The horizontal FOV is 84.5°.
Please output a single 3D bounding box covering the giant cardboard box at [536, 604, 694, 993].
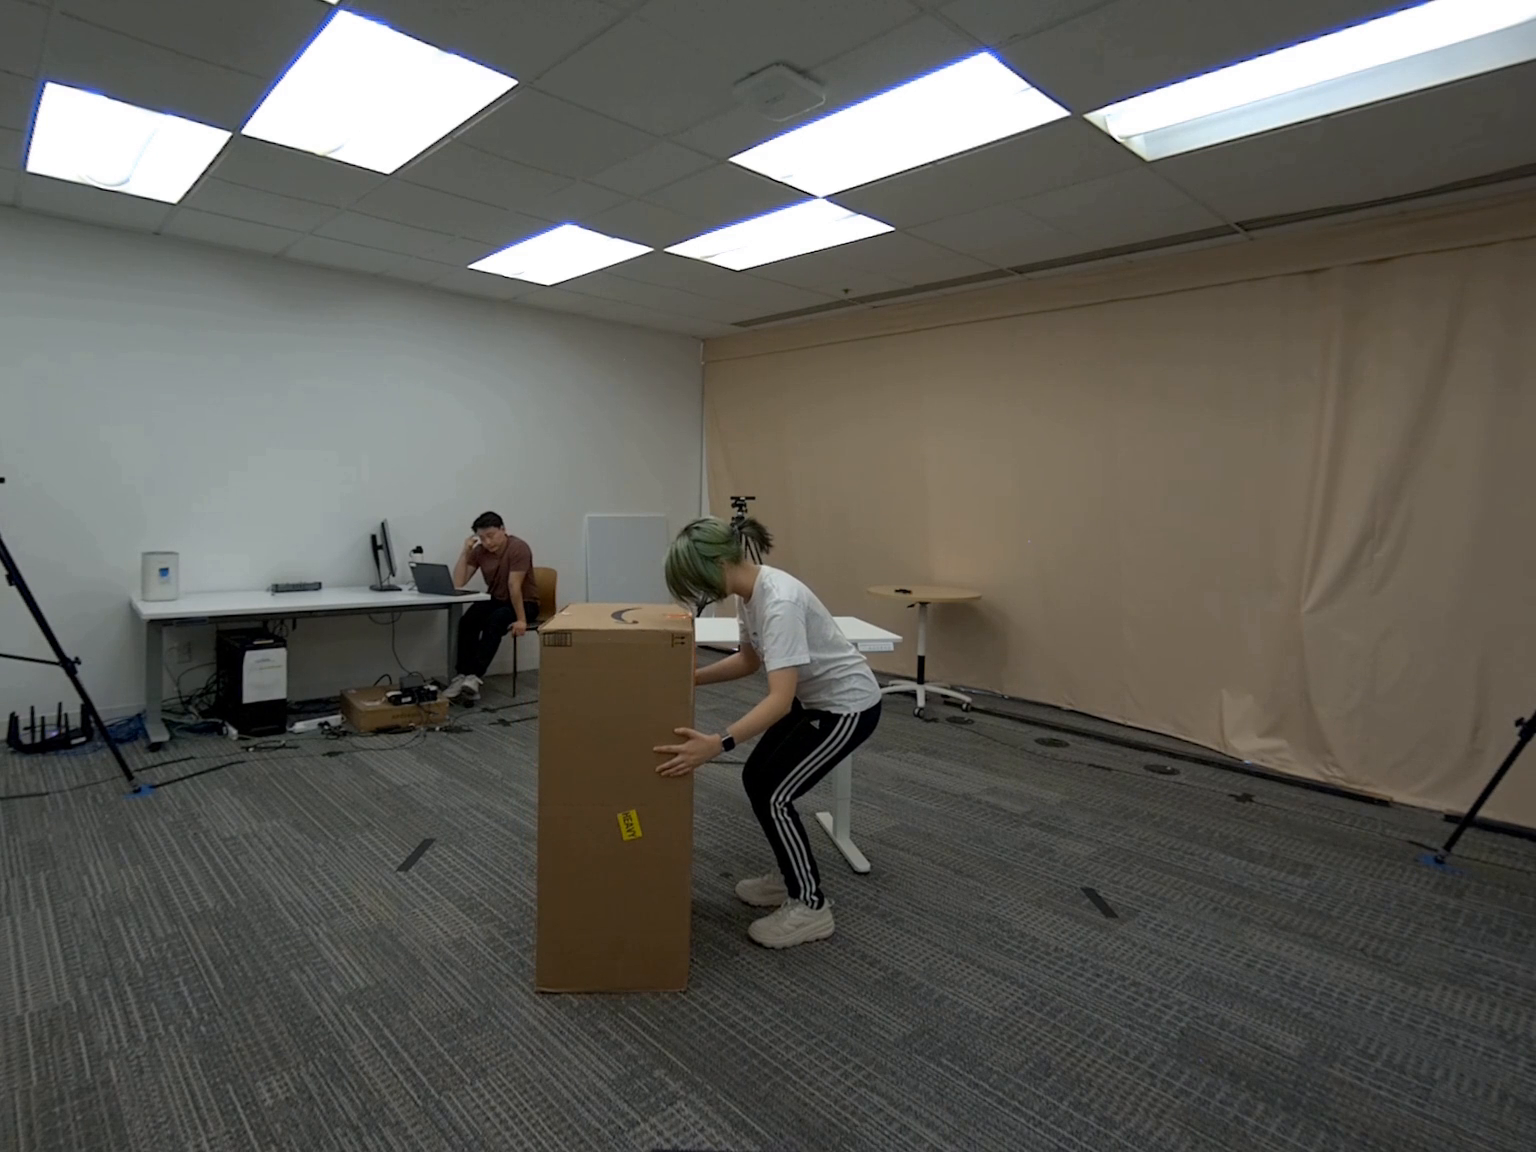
[{"bbox_3d":[-0.458,0.638,2.605,0.445,1.025,0.587,0,3,-5],"label":"giant cardboard box"}]
